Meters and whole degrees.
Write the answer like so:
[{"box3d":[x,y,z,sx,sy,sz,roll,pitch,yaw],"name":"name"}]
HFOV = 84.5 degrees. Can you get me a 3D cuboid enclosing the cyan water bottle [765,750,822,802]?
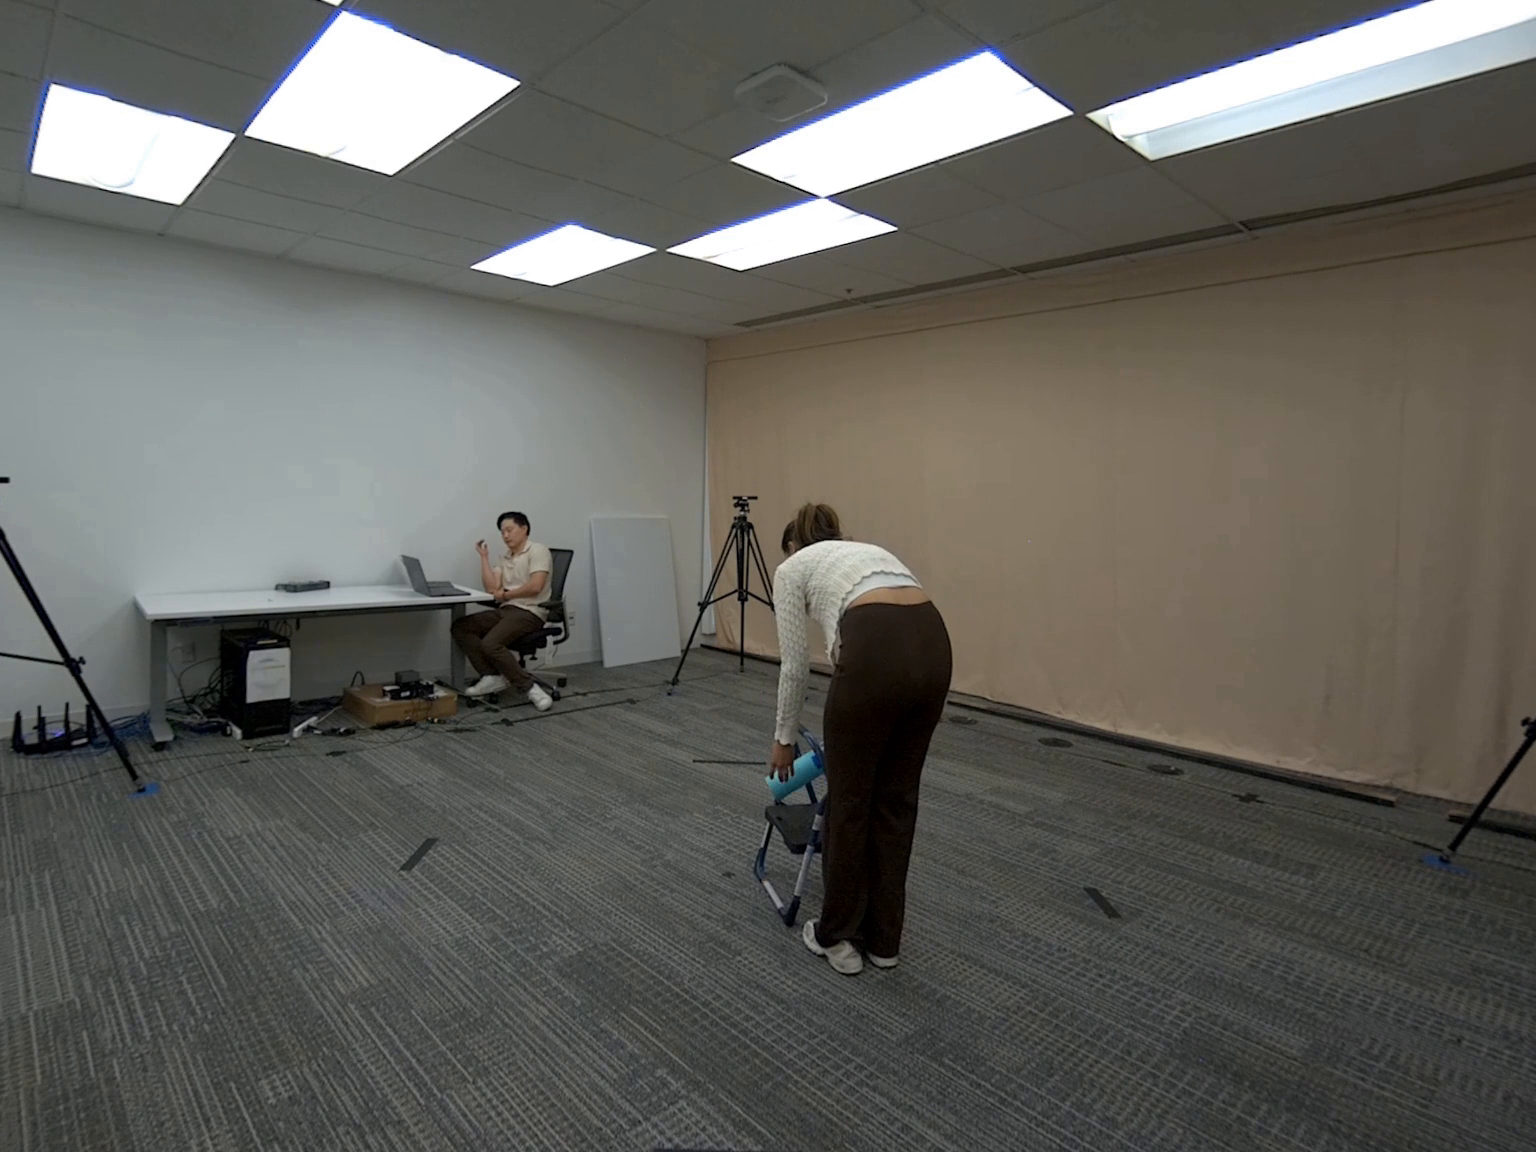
[{"box3d":[0.135,0.672,2.933,0.283,0.092,0.093,-29,7,-4],"name":"cyan water bottle"}]
